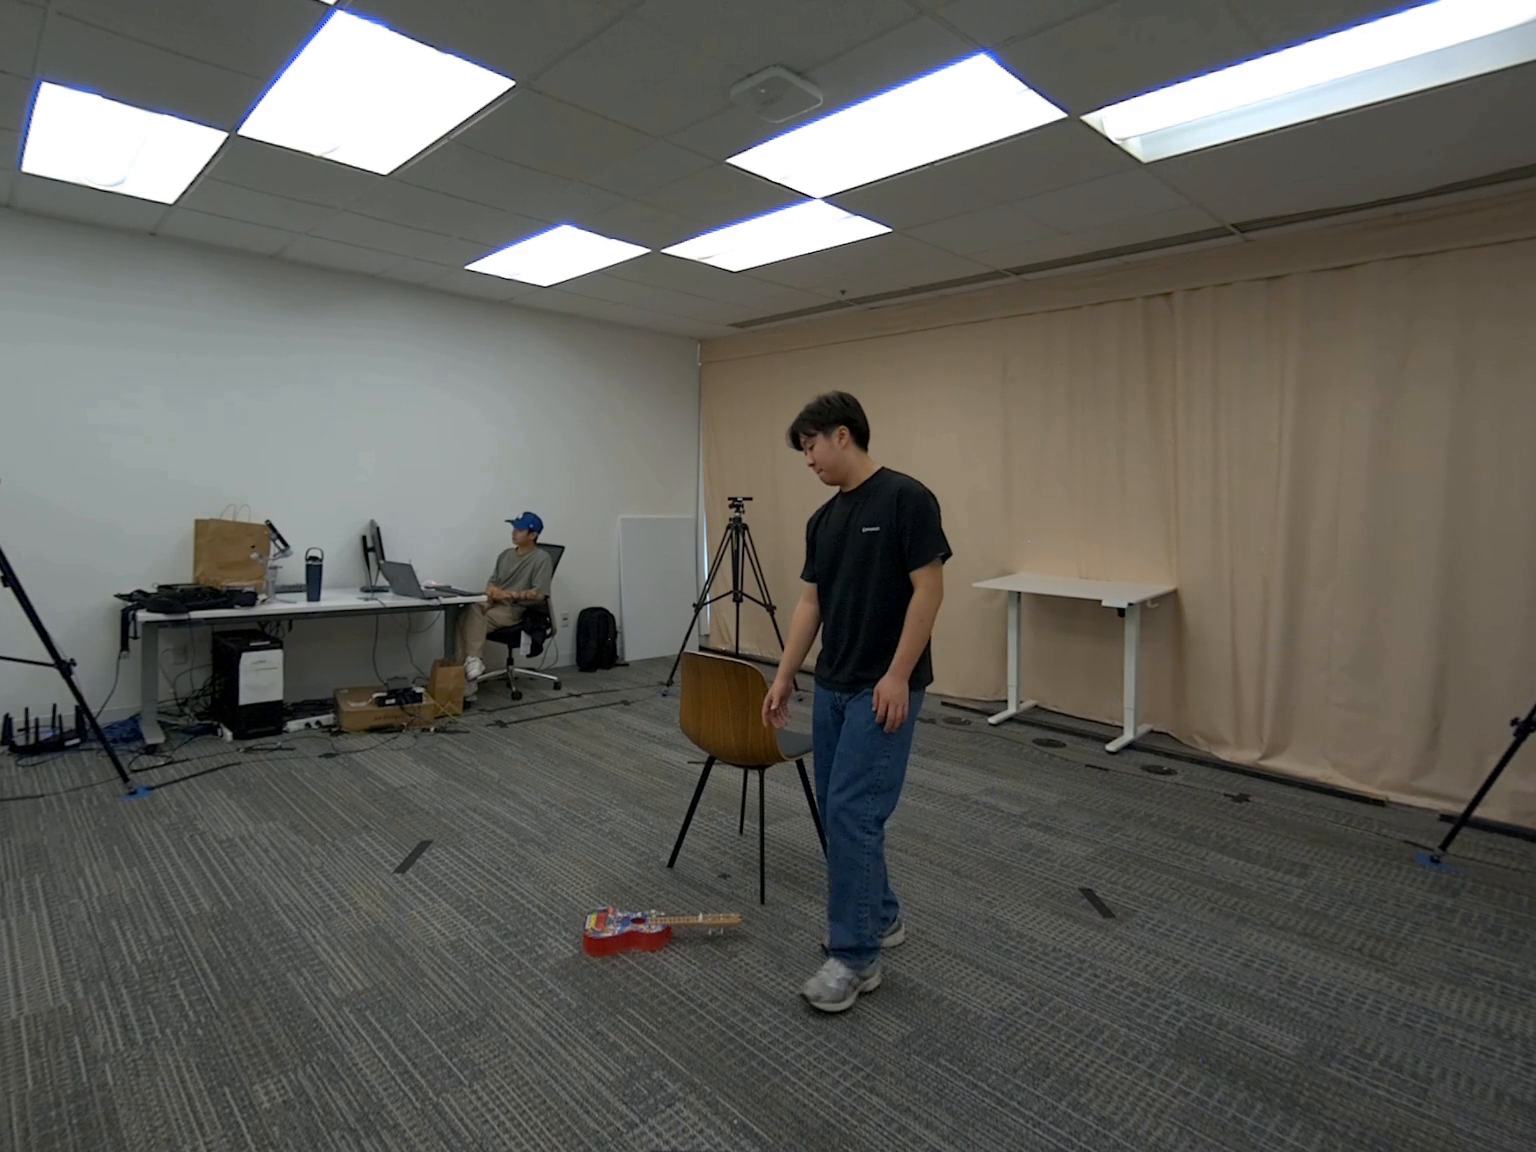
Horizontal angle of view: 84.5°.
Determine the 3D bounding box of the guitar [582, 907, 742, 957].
[{"bbox_3d":[-0.337,1.108,2.621,0.500,0.070,0.193,2,4,5],"label":"guitar"}]
